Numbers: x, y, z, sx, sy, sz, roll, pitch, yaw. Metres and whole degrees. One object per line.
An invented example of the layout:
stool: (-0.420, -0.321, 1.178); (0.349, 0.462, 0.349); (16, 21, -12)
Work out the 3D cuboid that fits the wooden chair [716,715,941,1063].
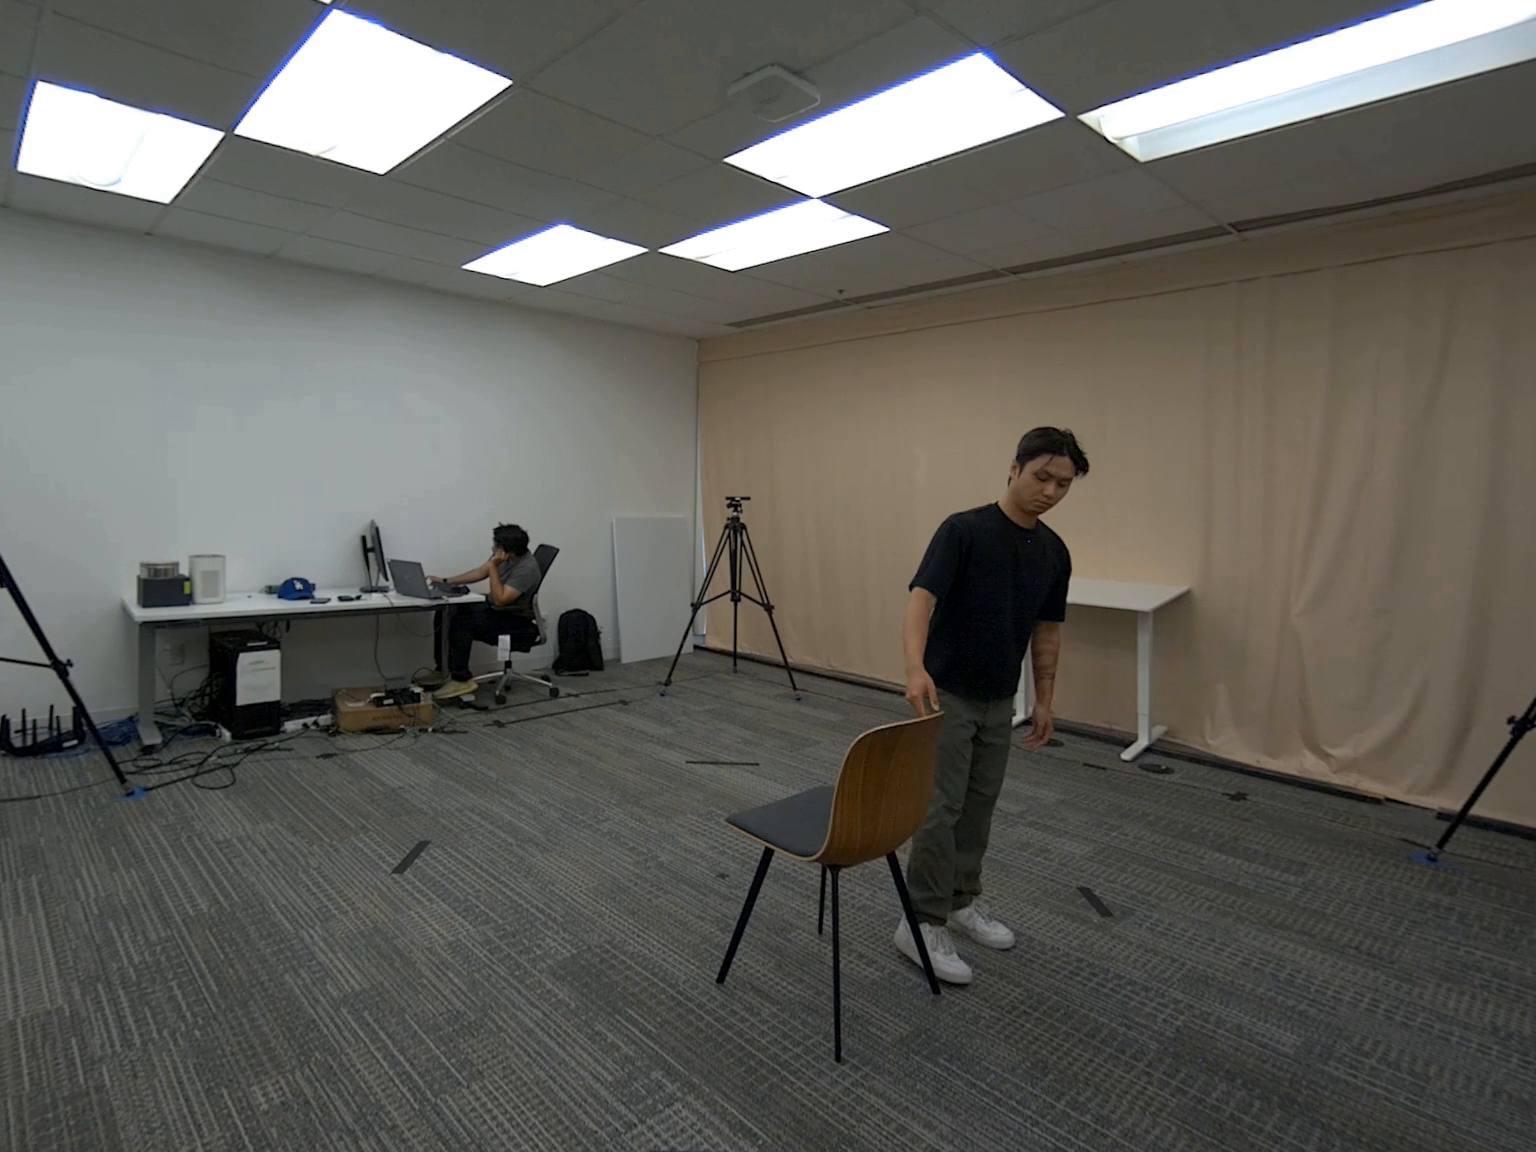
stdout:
wooden chair: (0.170, 0.753, 2.370); (0.467, 0.873, 0.538); (-2, 10, -45)
